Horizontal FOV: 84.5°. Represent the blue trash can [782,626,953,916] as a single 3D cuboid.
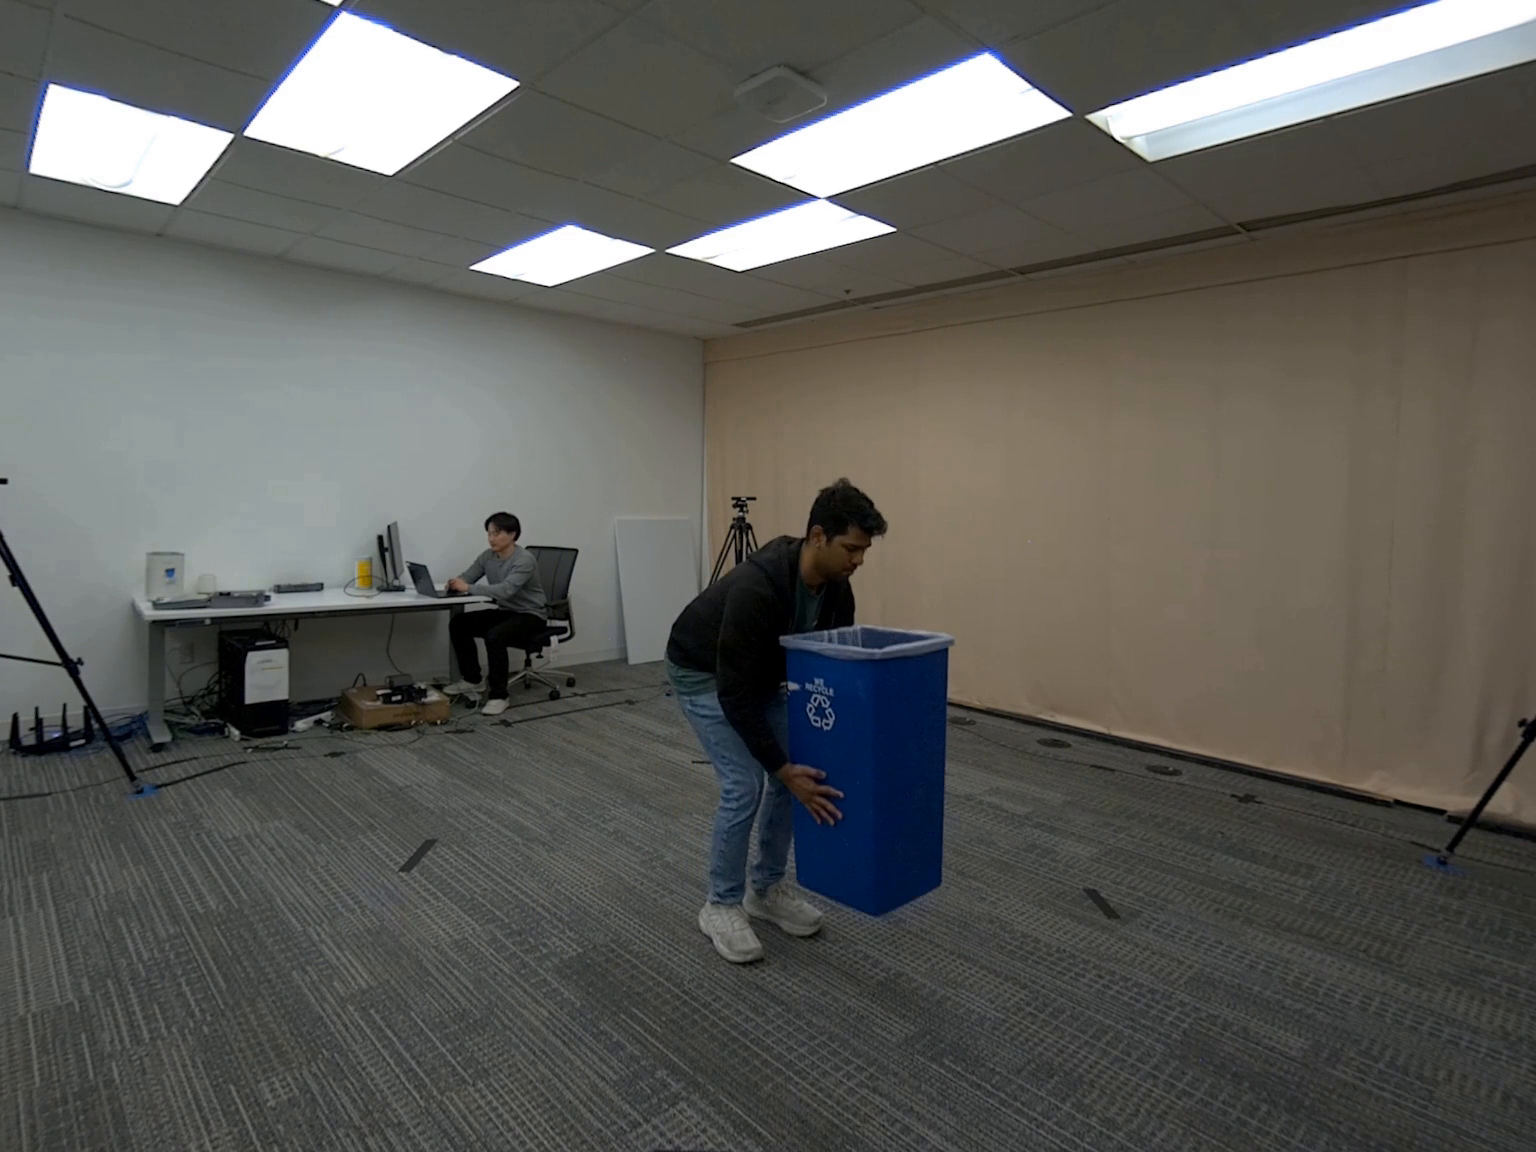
[{"bbox_3d":[0.287,0.528,2.389,0.369,0.712,0.383,-4,3,-44],"label":"blue trash can"}]
